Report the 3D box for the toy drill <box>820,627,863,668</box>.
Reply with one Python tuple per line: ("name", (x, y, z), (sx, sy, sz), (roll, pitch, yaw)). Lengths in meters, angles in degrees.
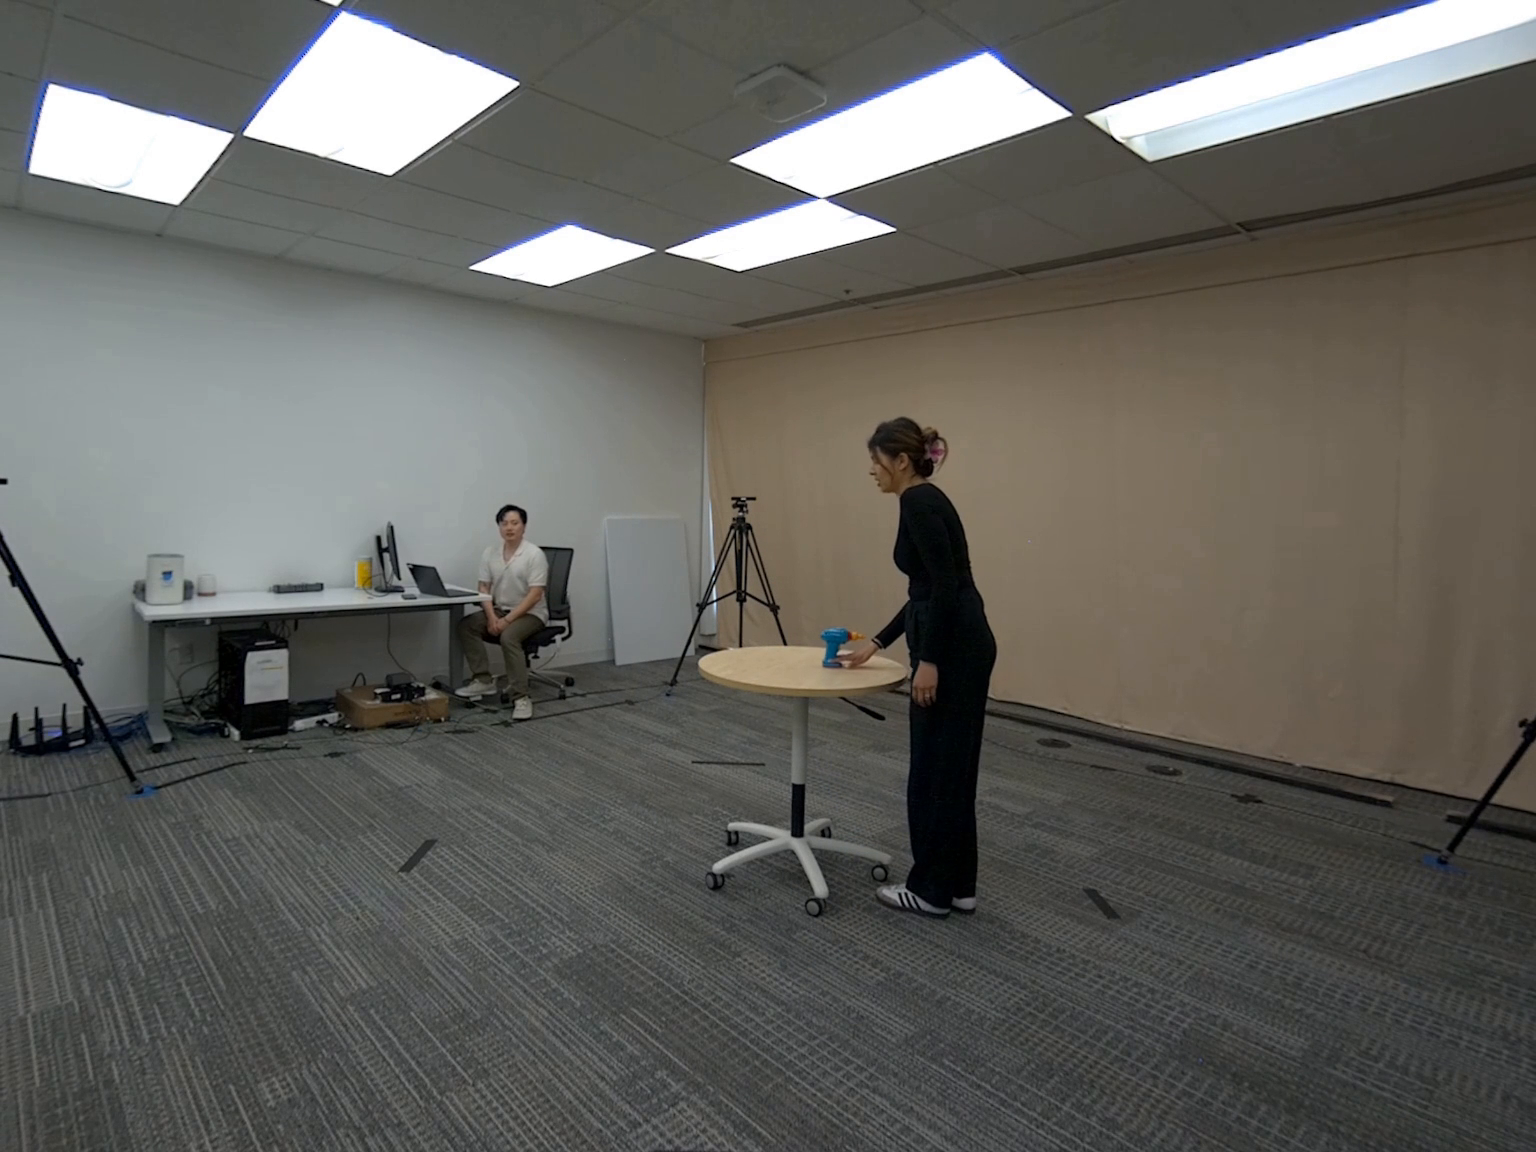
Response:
("toy drill", (0.277, 0.266, 3.088), (0.169, 0.146, 0.061), (5, 3, -3))
